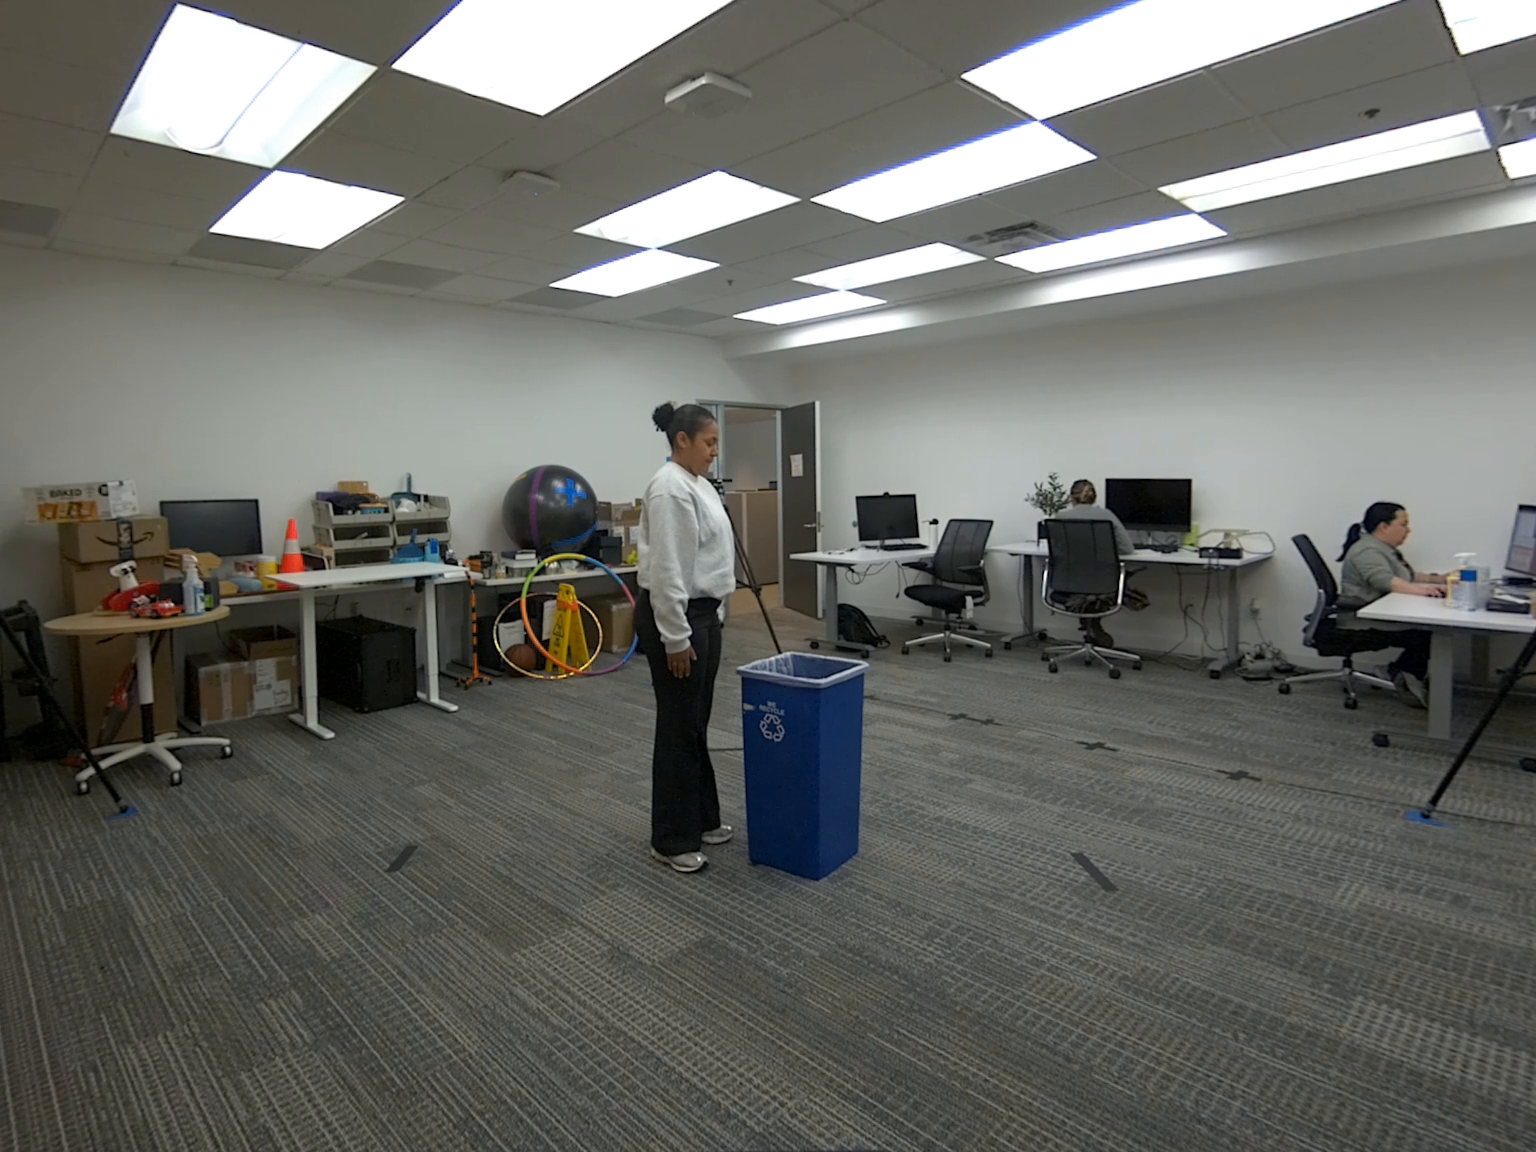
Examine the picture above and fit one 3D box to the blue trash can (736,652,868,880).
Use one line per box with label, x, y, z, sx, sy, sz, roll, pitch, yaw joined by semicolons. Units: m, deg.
blue trash can;0.131;0.678;3.131;0.389;0.711;0.365;3;5;35
